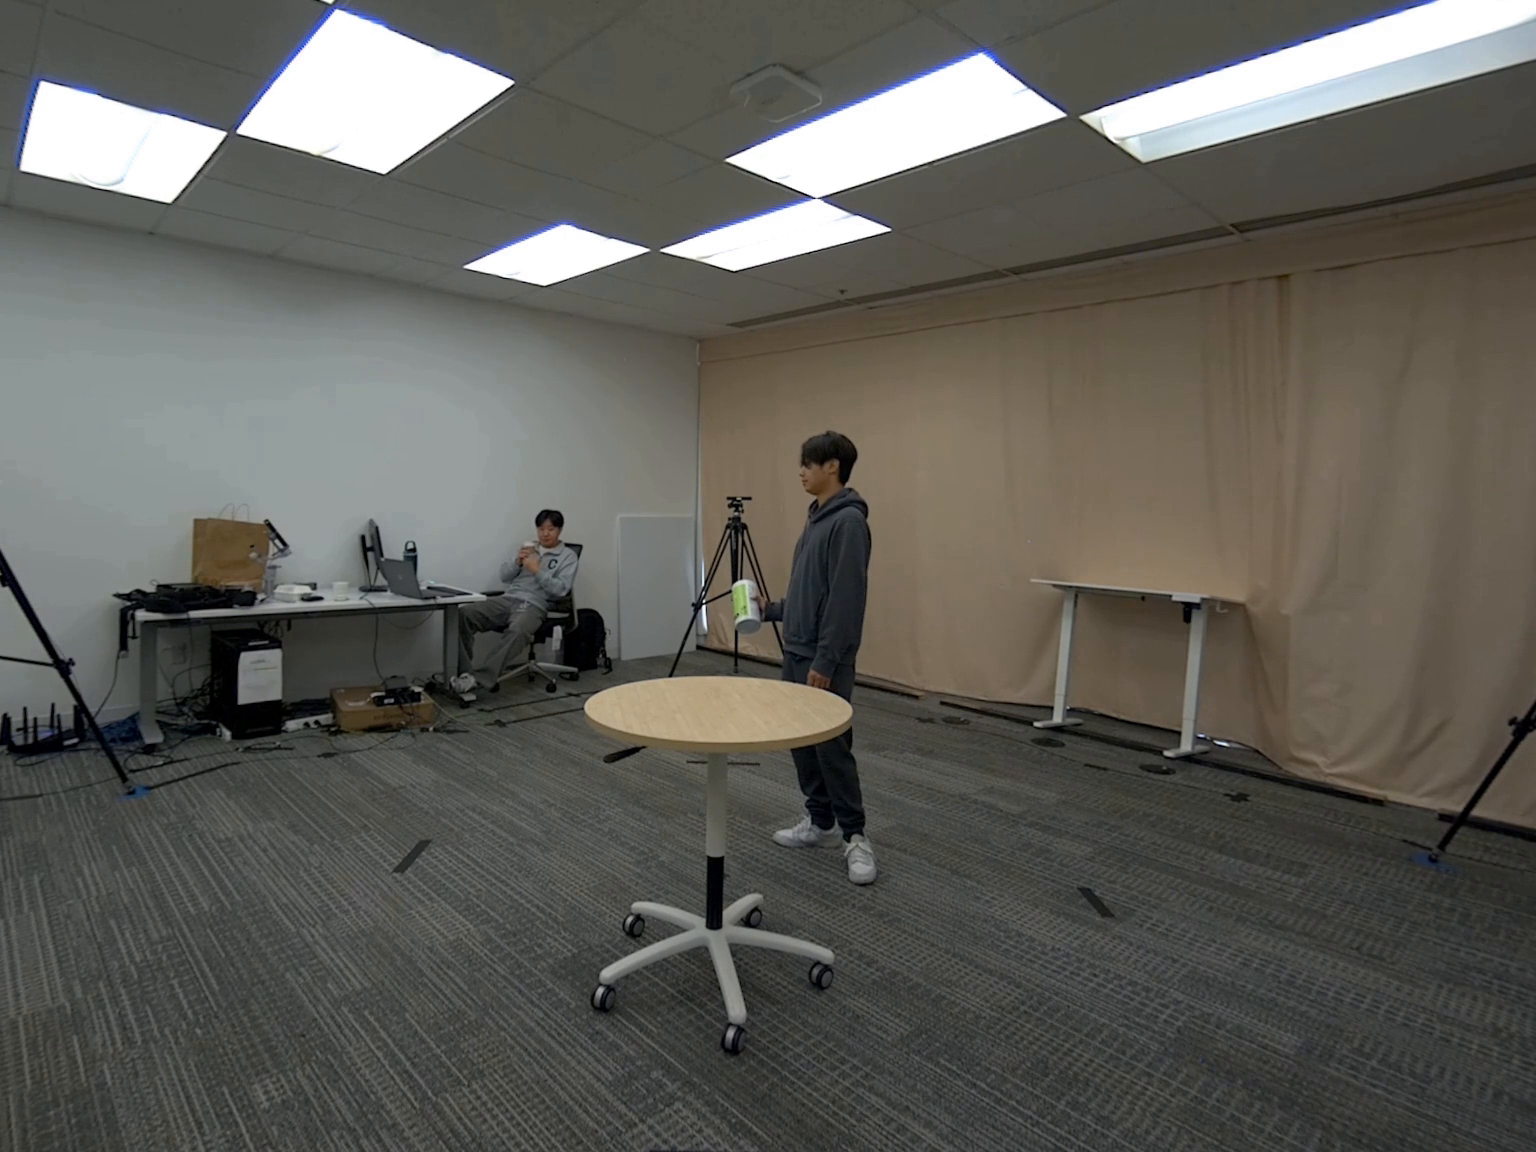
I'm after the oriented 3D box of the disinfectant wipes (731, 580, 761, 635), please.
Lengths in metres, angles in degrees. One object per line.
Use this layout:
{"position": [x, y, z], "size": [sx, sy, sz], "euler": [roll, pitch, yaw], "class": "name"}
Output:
{"position": [-0.095, 0.130, 3.573], "size": [0.117, 0.223, 0.115], "euler": [0, -42, -9], "class": "disinfectant wipes"}
